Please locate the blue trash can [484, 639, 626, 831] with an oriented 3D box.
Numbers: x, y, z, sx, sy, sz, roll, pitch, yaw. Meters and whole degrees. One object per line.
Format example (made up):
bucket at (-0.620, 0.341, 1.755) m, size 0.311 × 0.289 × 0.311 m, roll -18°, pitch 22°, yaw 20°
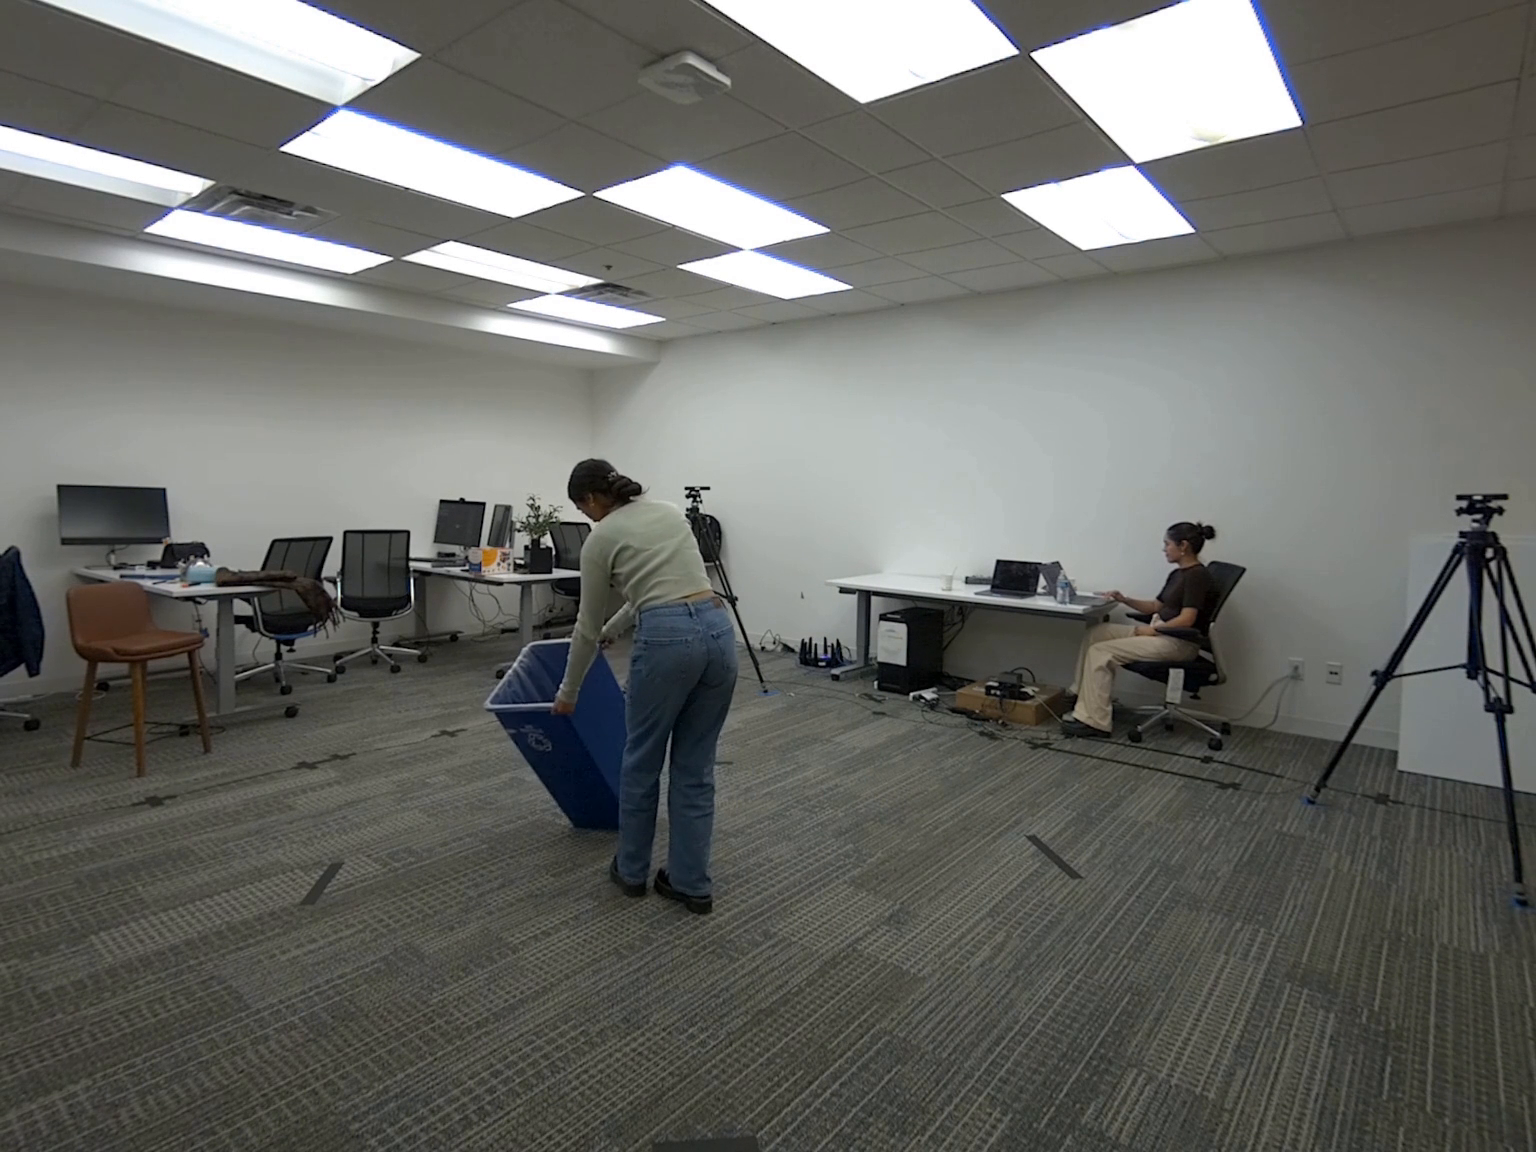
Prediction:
blue trash can at (-0.733, 0.637, 3.349) m, size 0.382 × 0.691 × 0.382 m, roll -6°, pitch 33°, yaw 26°
